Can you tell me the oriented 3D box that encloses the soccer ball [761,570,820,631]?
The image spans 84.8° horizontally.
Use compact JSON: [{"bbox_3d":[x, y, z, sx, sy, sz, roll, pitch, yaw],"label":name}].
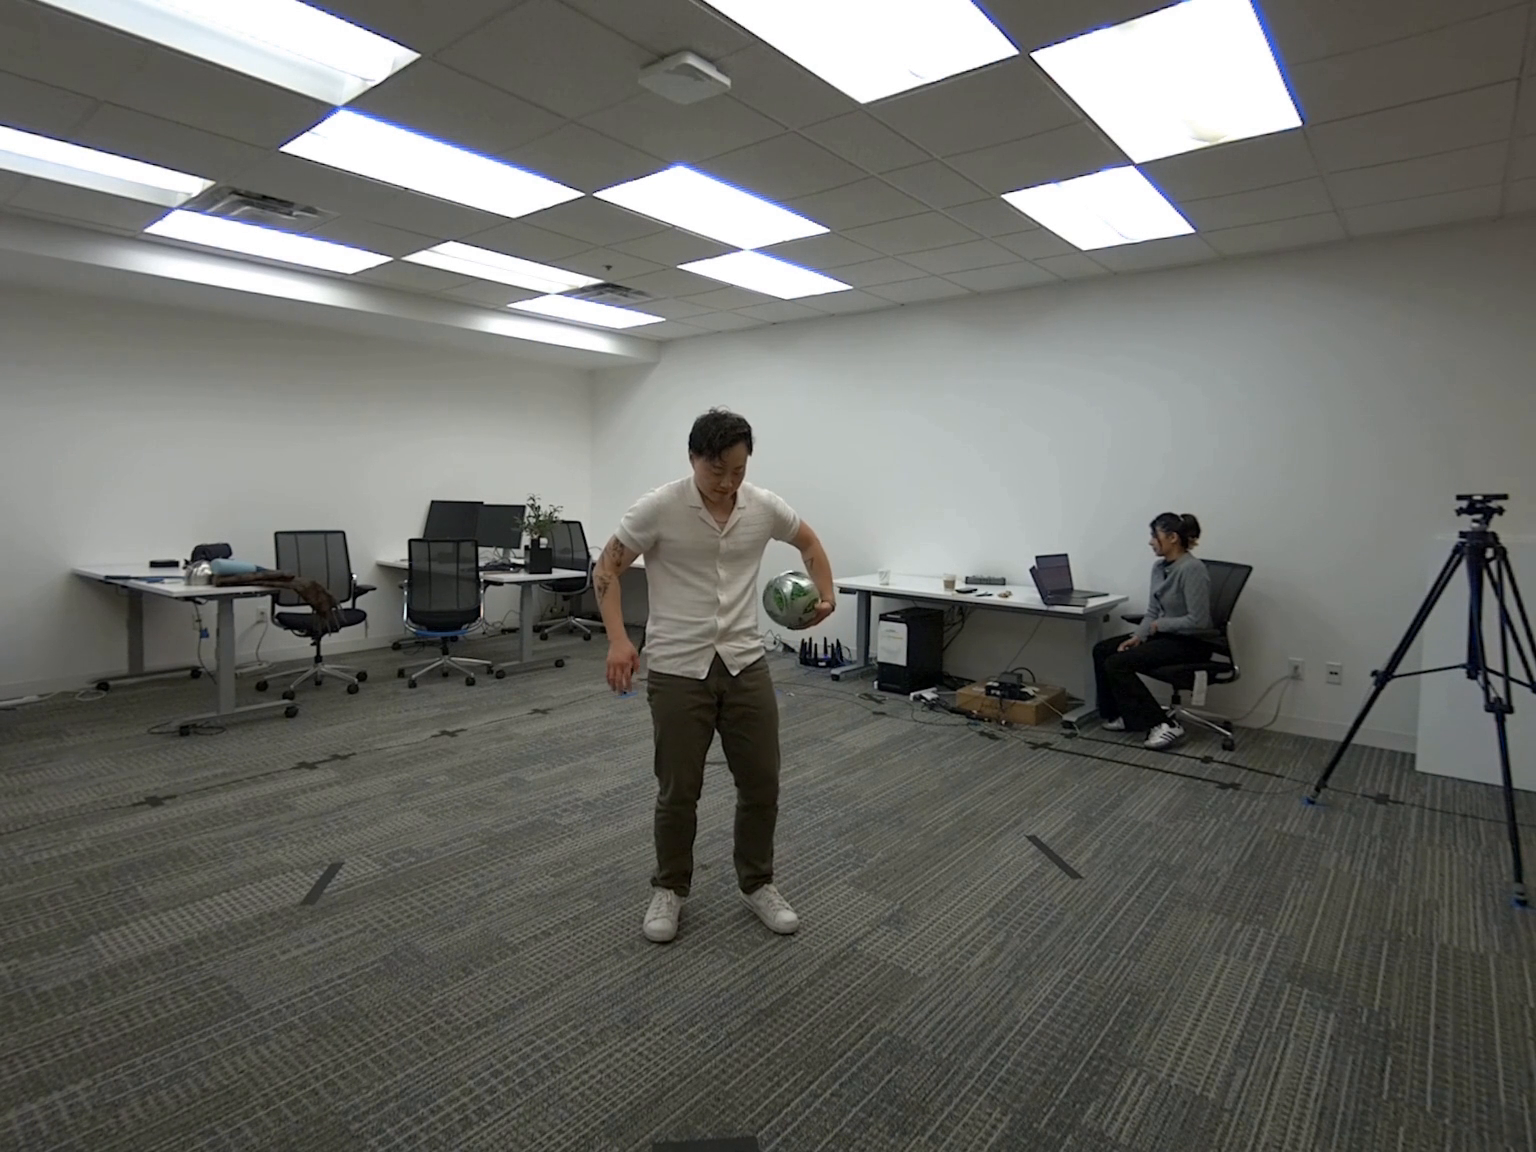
[{"bbox_3d":[0.065,0.077,2.814,0.187,0.187,0.188,1,4,-2],"label":"soccer ball"}]
